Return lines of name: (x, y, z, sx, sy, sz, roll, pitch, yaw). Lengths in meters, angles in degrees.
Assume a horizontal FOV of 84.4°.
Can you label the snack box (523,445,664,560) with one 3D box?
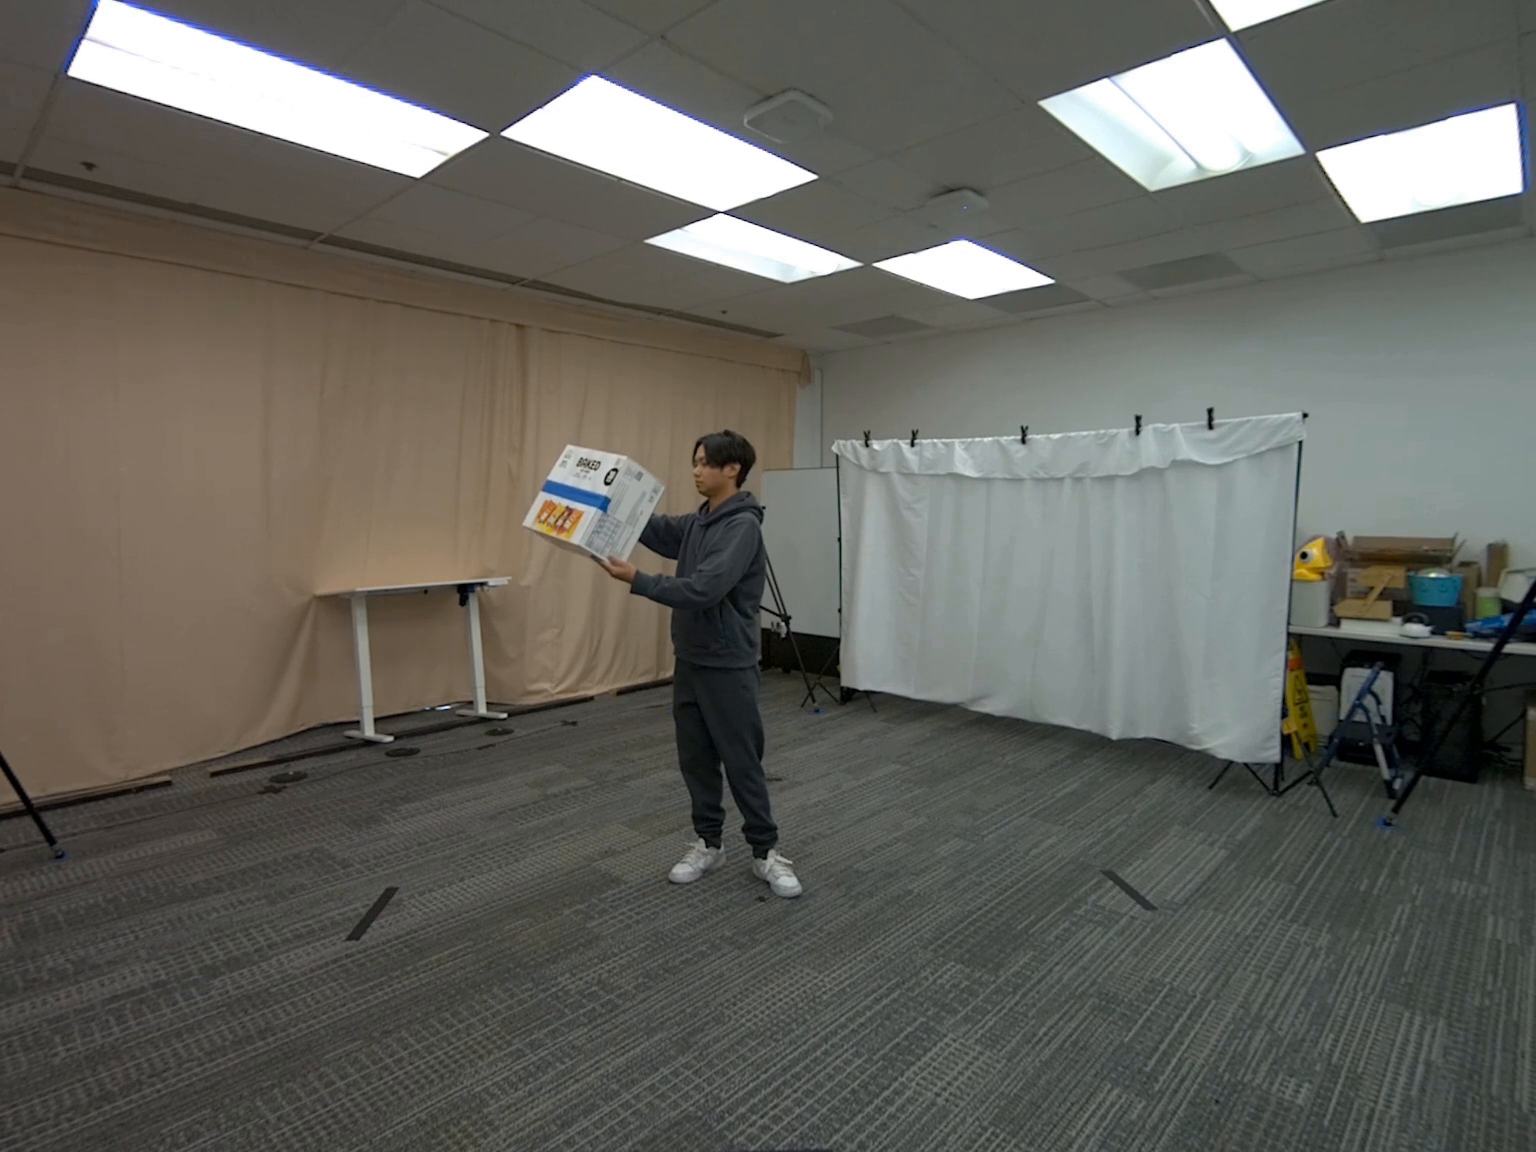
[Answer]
snack box: (-0.610, -0.244, 2.988, 0.420, 0.340, 0.198, 17, -13, 47)
